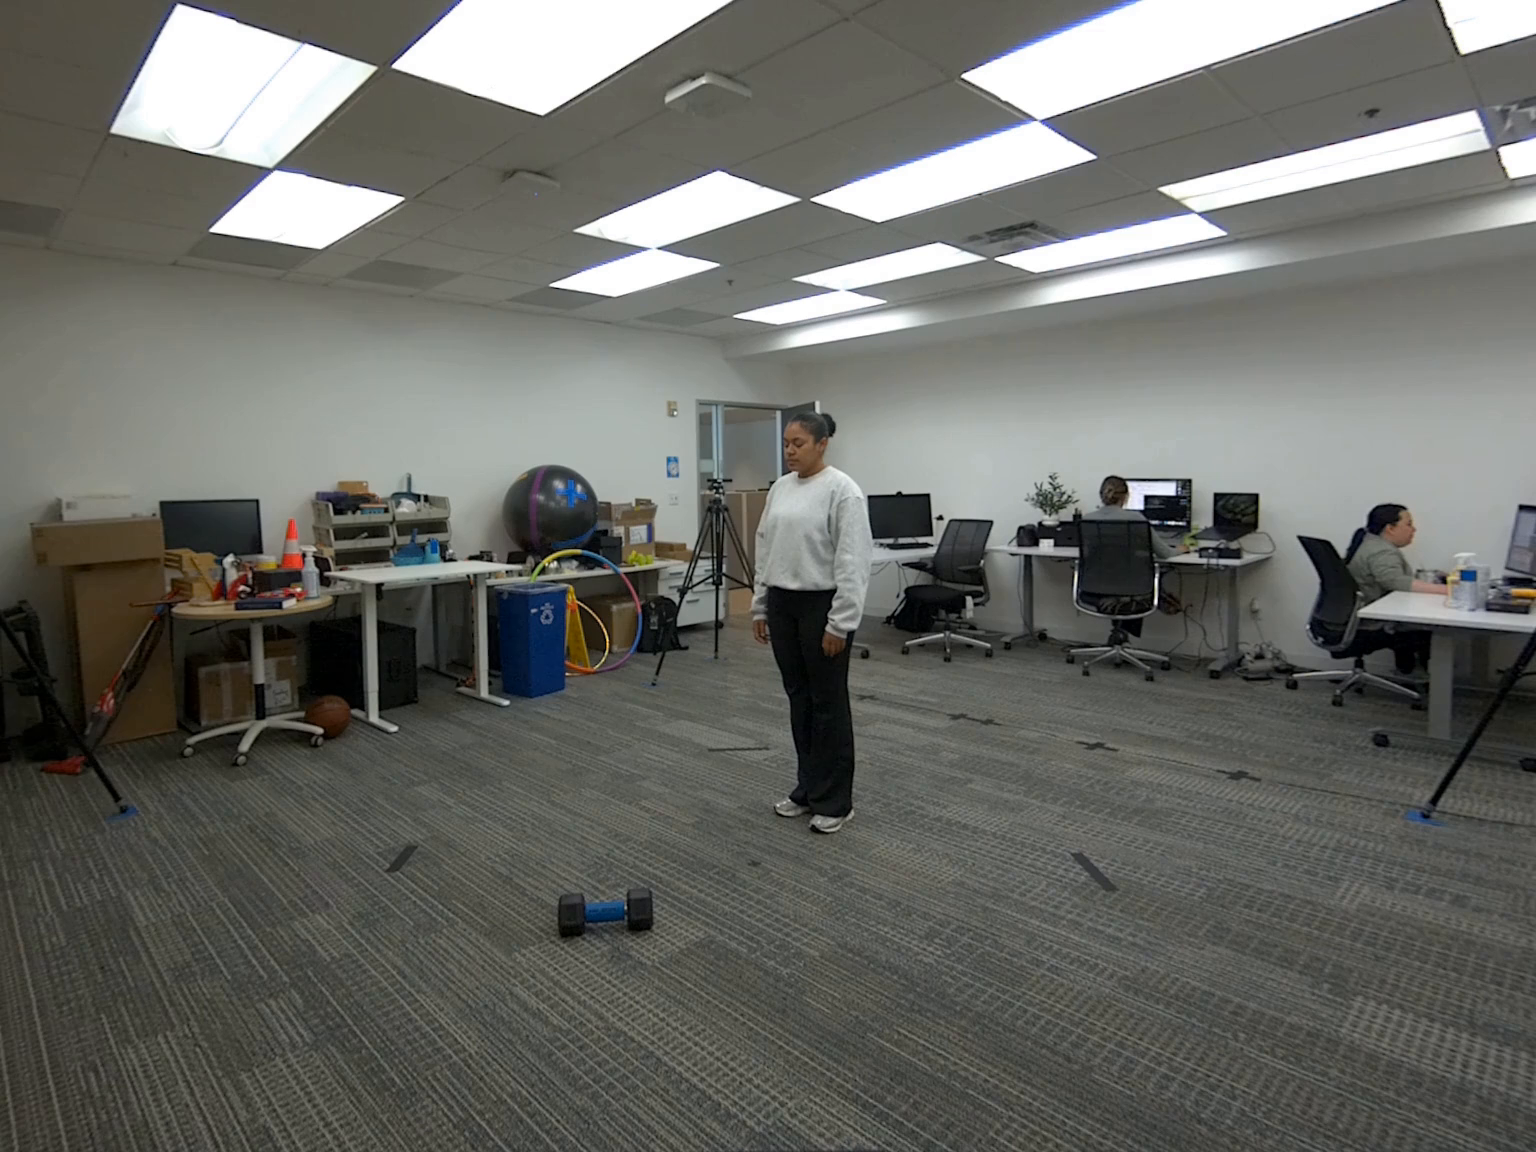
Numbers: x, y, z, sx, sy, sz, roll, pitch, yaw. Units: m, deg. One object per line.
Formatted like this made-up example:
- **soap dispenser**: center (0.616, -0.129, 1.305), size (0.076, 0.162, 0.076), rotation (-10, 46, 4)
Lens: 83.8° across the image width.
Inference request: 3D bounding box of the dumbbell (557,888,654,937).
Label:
- **dumbbell**: center (-0.502, 1.052, 2.674), size (0.291, 0.120, 0.112), rotation (-2, 34, -7)
